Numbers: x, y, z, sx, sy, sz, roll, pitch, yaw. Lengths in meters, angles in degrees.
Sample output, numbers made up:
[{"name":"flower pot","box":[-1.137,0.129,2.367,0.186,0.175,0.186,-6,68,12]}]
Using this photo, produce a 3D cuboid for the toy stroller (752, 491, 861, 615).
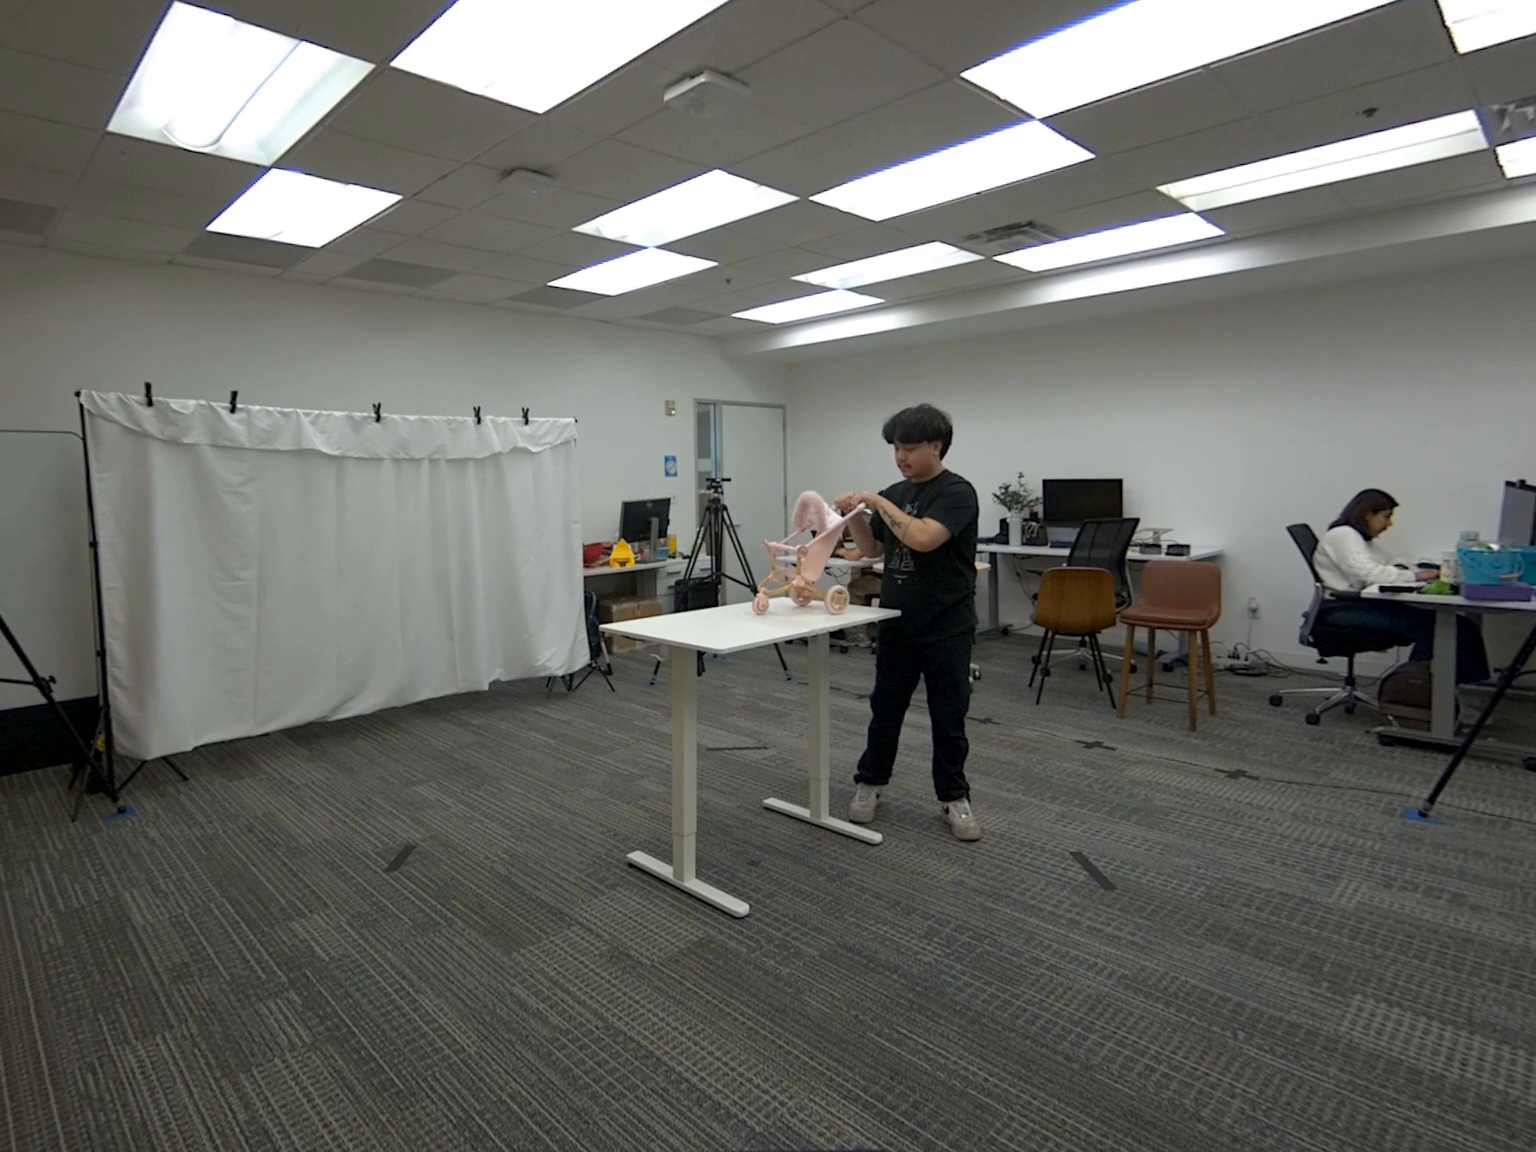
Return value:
[{"name":"toy stroller","box":[0.149,-0.088,3.283,0.333,0.536,0.288,14,-2,-23]}]
